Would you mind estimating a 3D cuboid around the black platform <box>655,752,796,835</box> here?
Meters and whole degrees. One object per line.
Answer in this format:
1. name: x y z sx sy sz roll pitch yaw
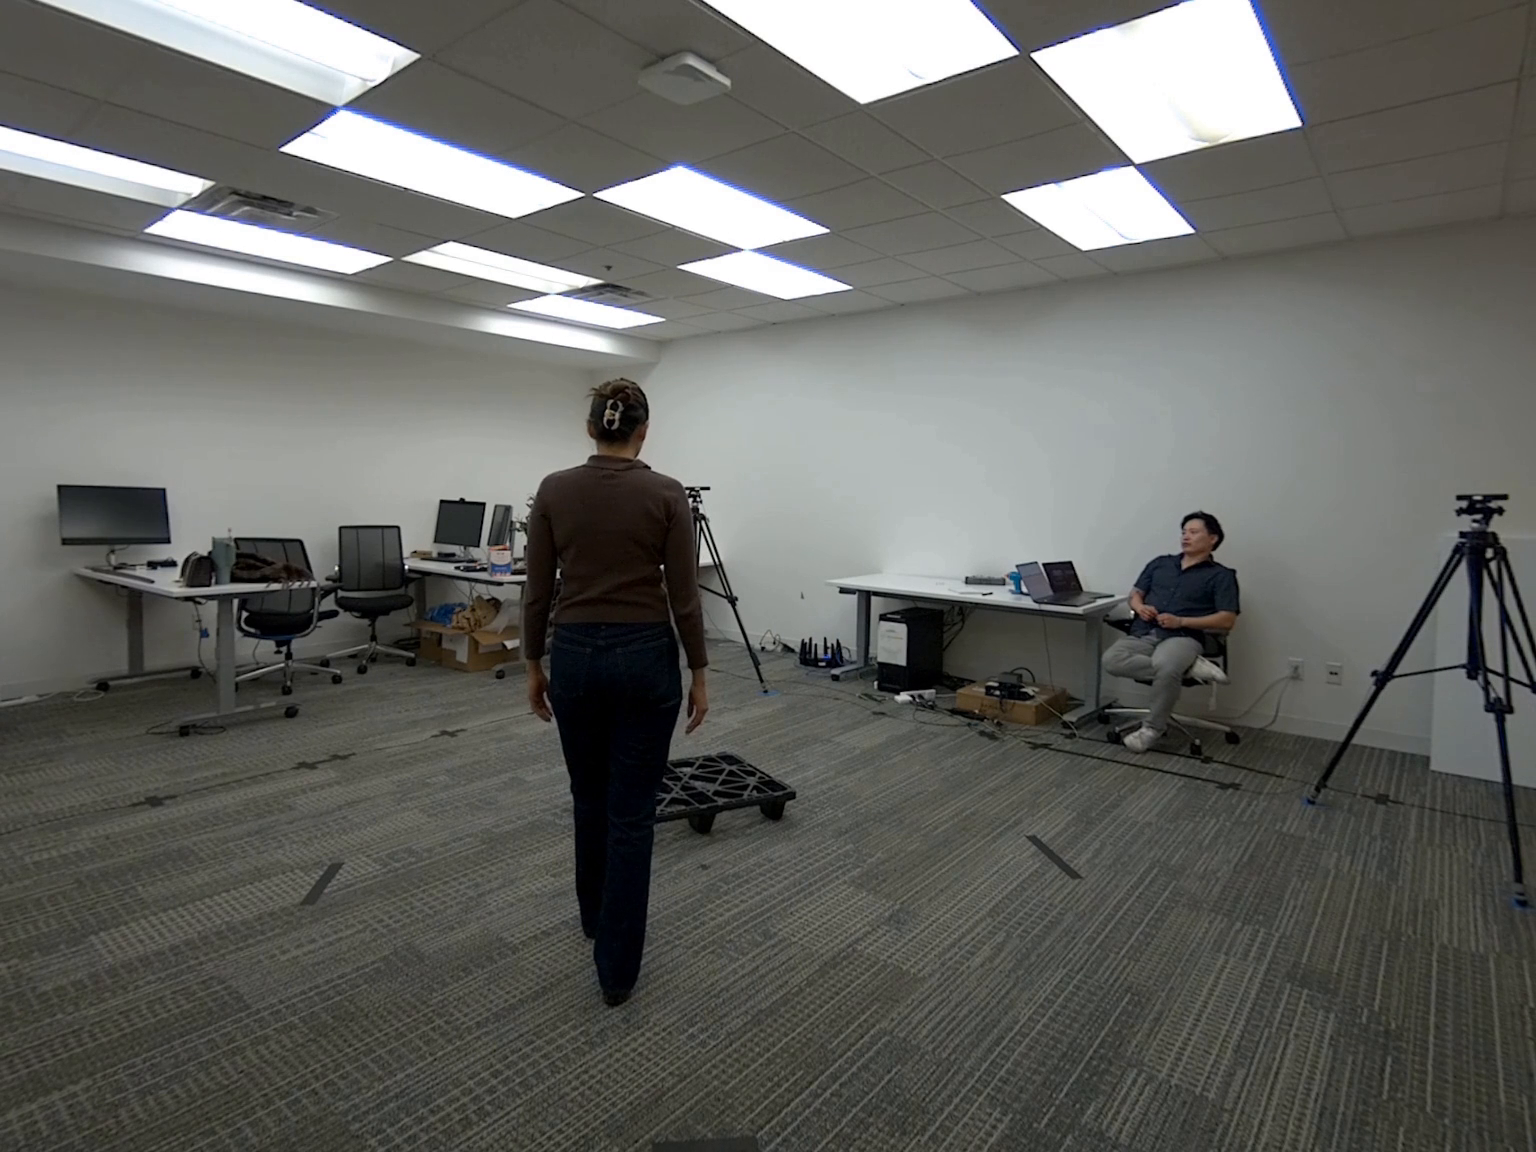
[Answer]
1. black platform: -0.374 0.945 3.629 0.785 0.143 0.624 -3 7 -29
